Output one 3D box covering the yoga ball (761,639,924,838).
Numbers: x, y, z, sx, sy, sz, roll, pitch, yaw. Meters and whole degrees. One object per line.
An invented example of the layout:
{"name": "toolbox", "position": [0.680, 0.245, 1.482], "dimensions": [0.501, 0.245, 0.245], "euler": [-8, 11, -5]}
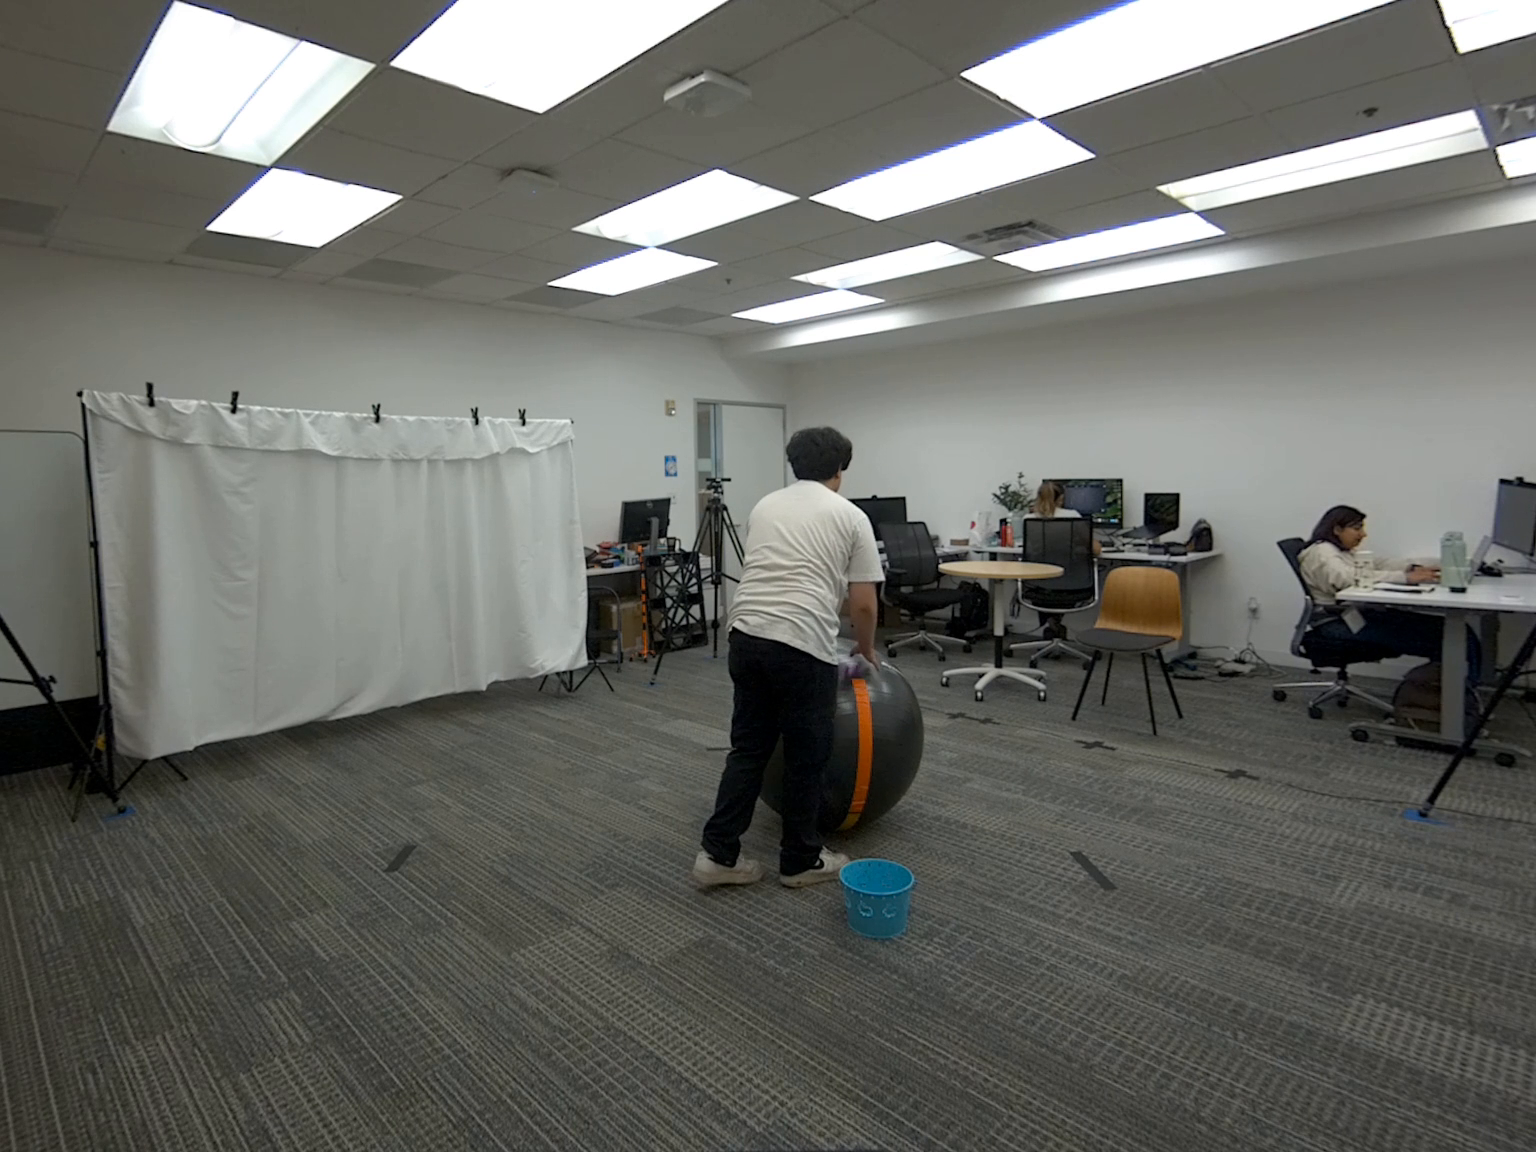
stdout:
{"name": "yoga ball", "position": [0.252, 0.635, 3.460], "dimensions": [0.757, 0.755, 0.762], "euler": [-1, 5, -2]}
